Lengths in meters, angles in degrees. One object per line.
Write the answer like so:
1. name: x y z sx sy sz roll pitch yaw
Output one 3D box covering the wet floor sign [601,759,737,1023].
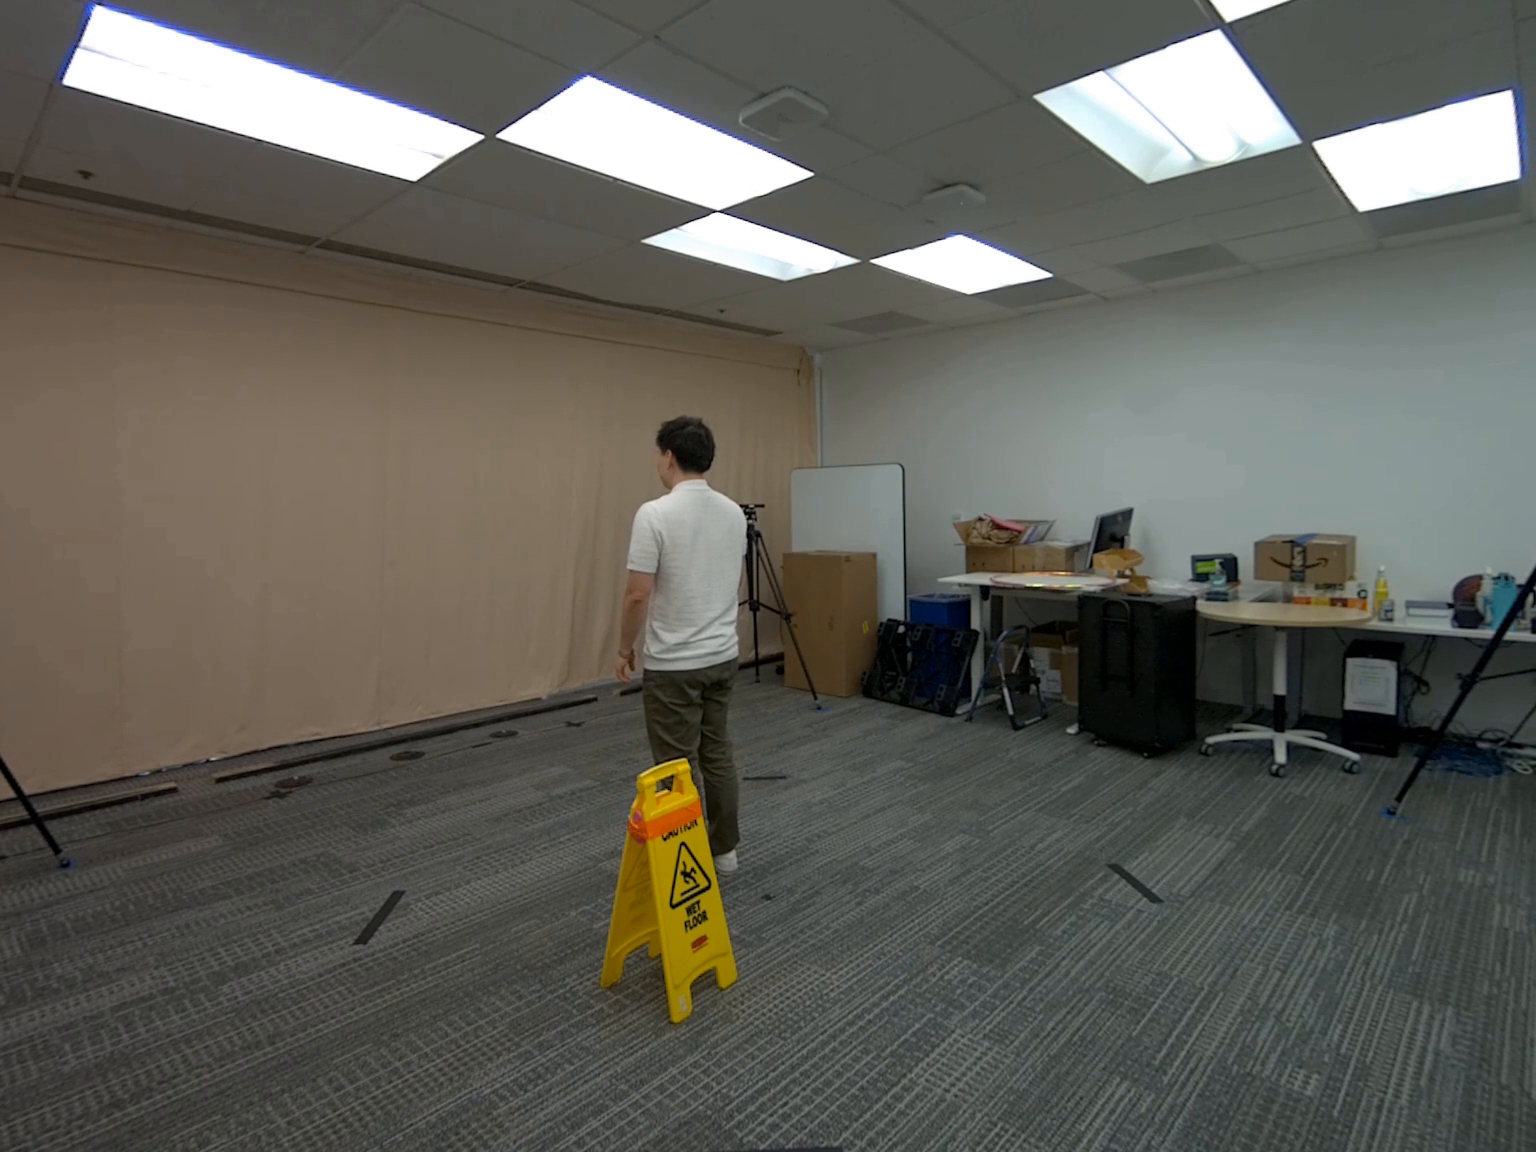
1. wet floor sign: -0.296 0.866 2.442 0.299 0.645 0.274 1 3 37
